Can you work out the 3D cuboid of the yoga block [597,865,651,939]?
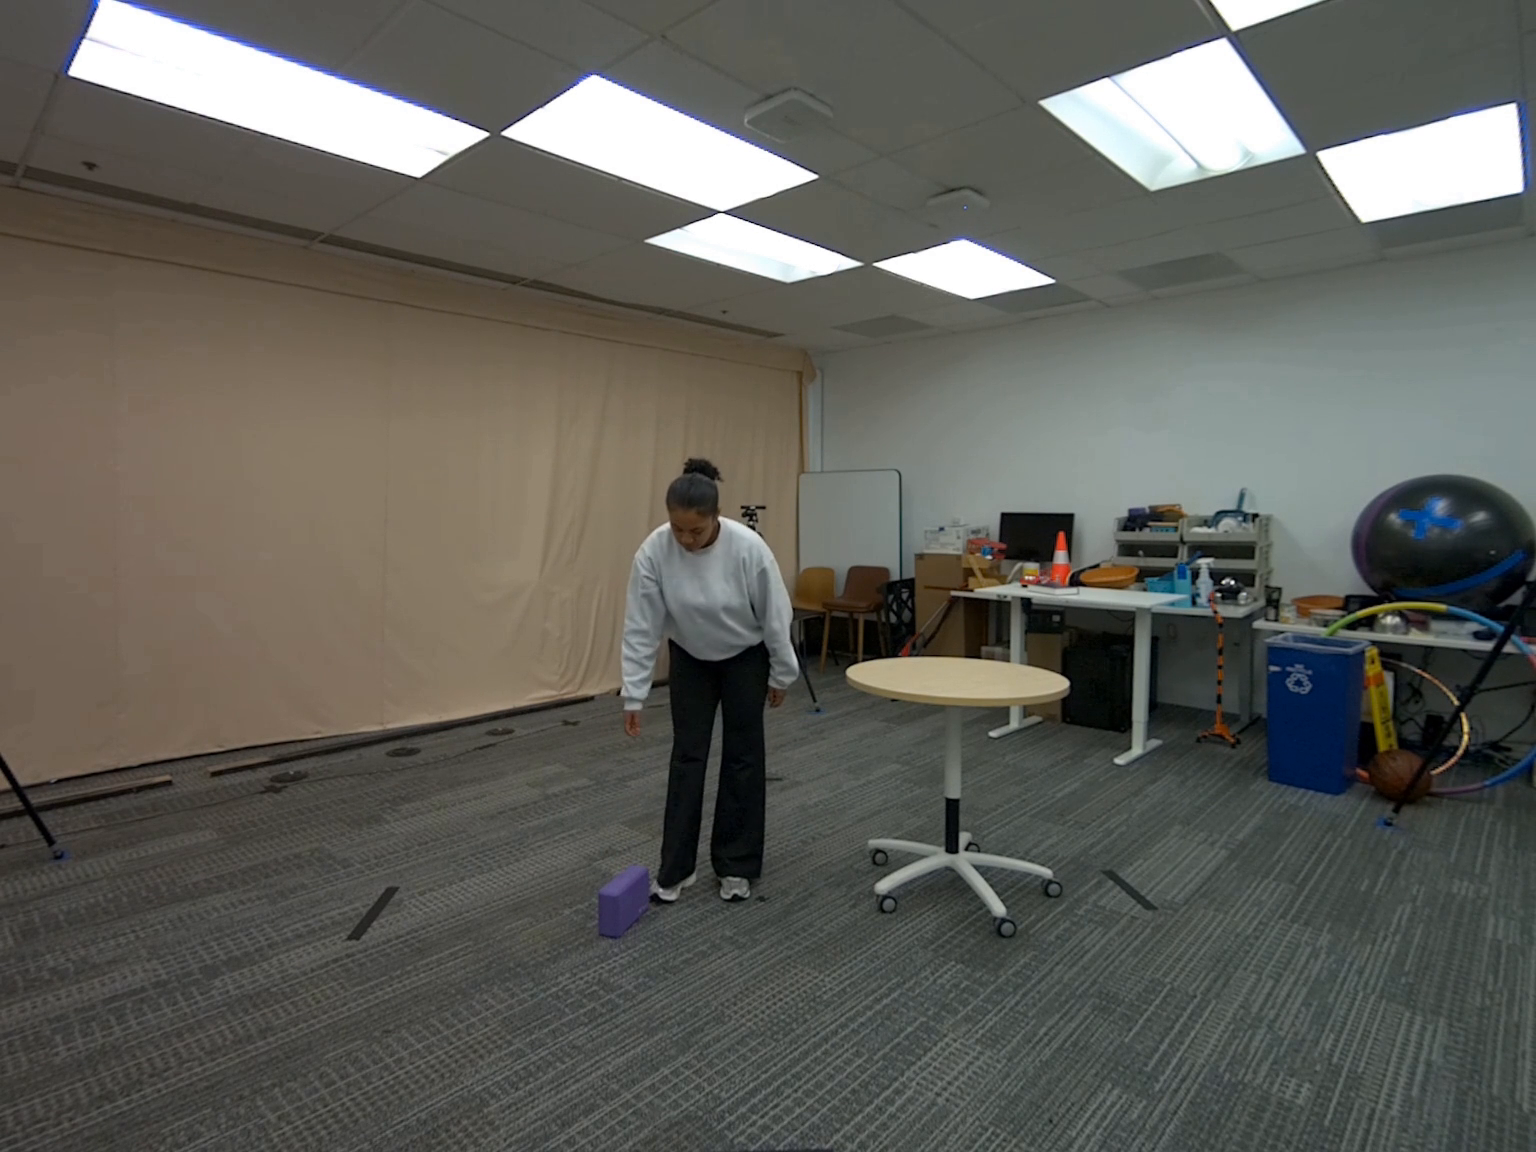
[{"bbox_3d":[-0.478,1.075,2.818,0.078,0.148,0.225,2,6,20],"label":"yoga block"}]
